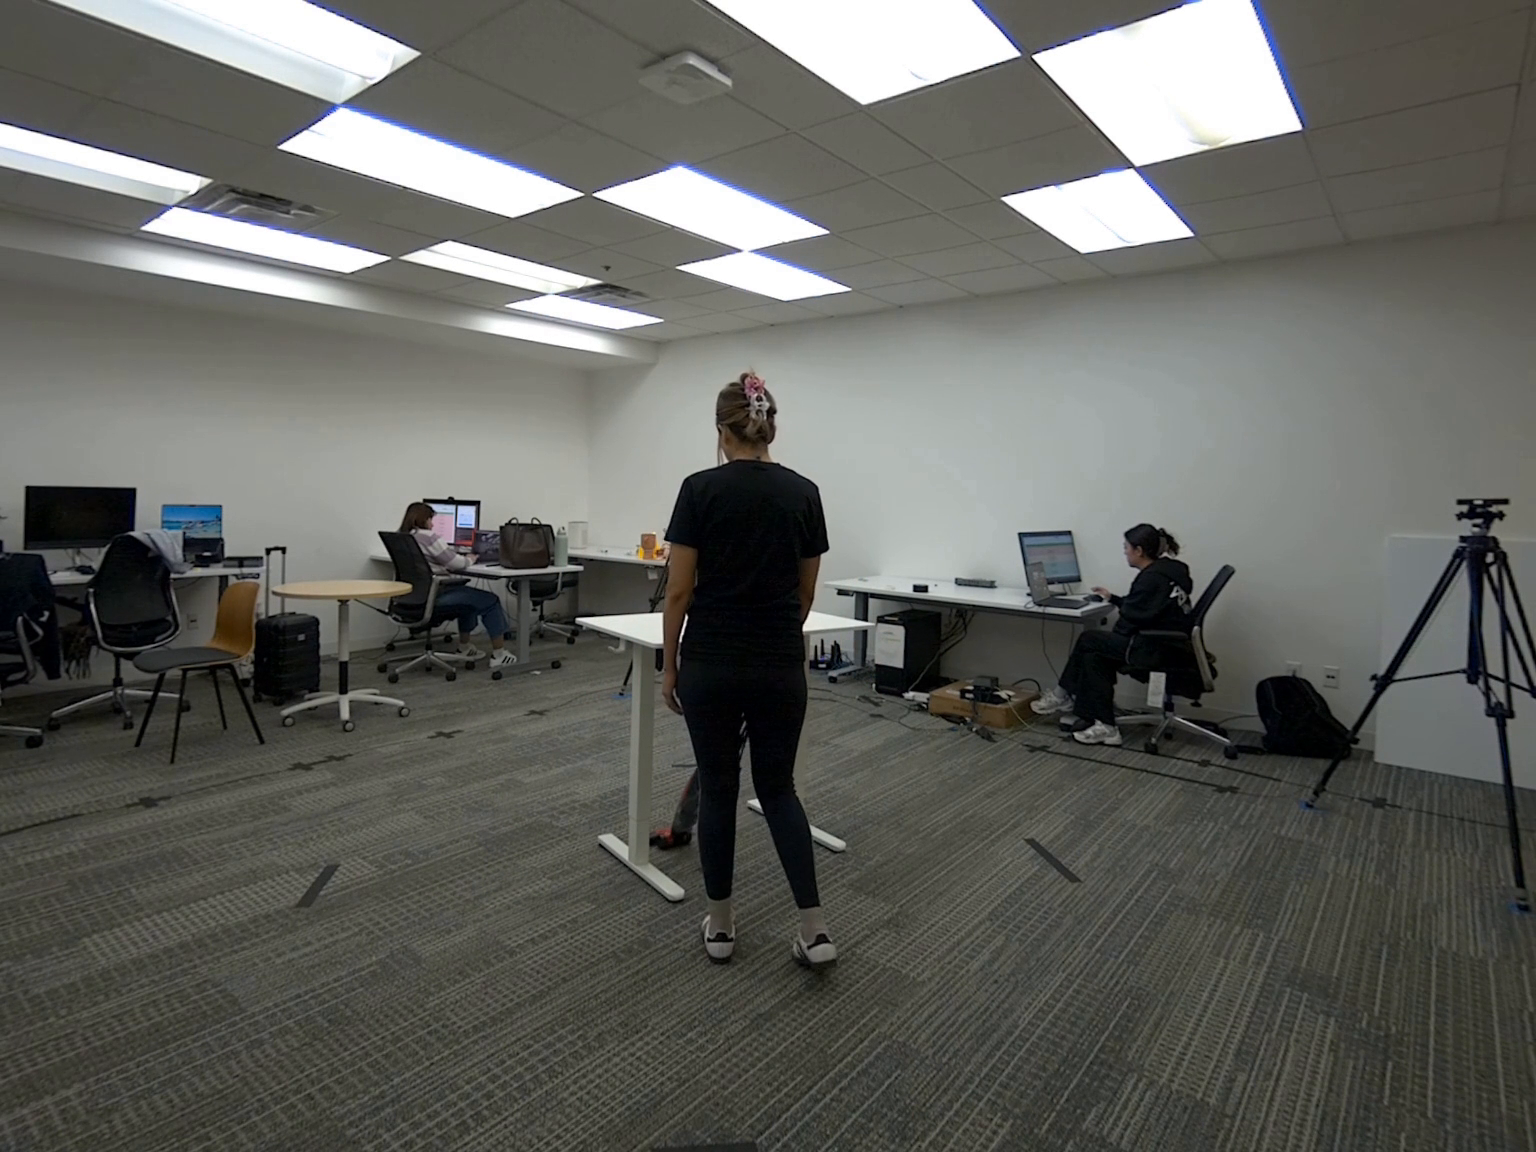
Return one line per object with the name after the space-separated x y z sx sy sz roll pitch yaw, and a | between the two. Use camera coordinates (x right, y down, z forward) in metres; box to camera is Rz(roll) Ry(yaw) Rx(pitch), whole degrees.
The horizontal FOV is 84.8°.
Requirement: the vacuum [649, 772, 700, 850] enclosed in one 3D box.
-0.205 0.692 3.050 0.245 0.149 1.040 -2 -40 -35 | vacuum
